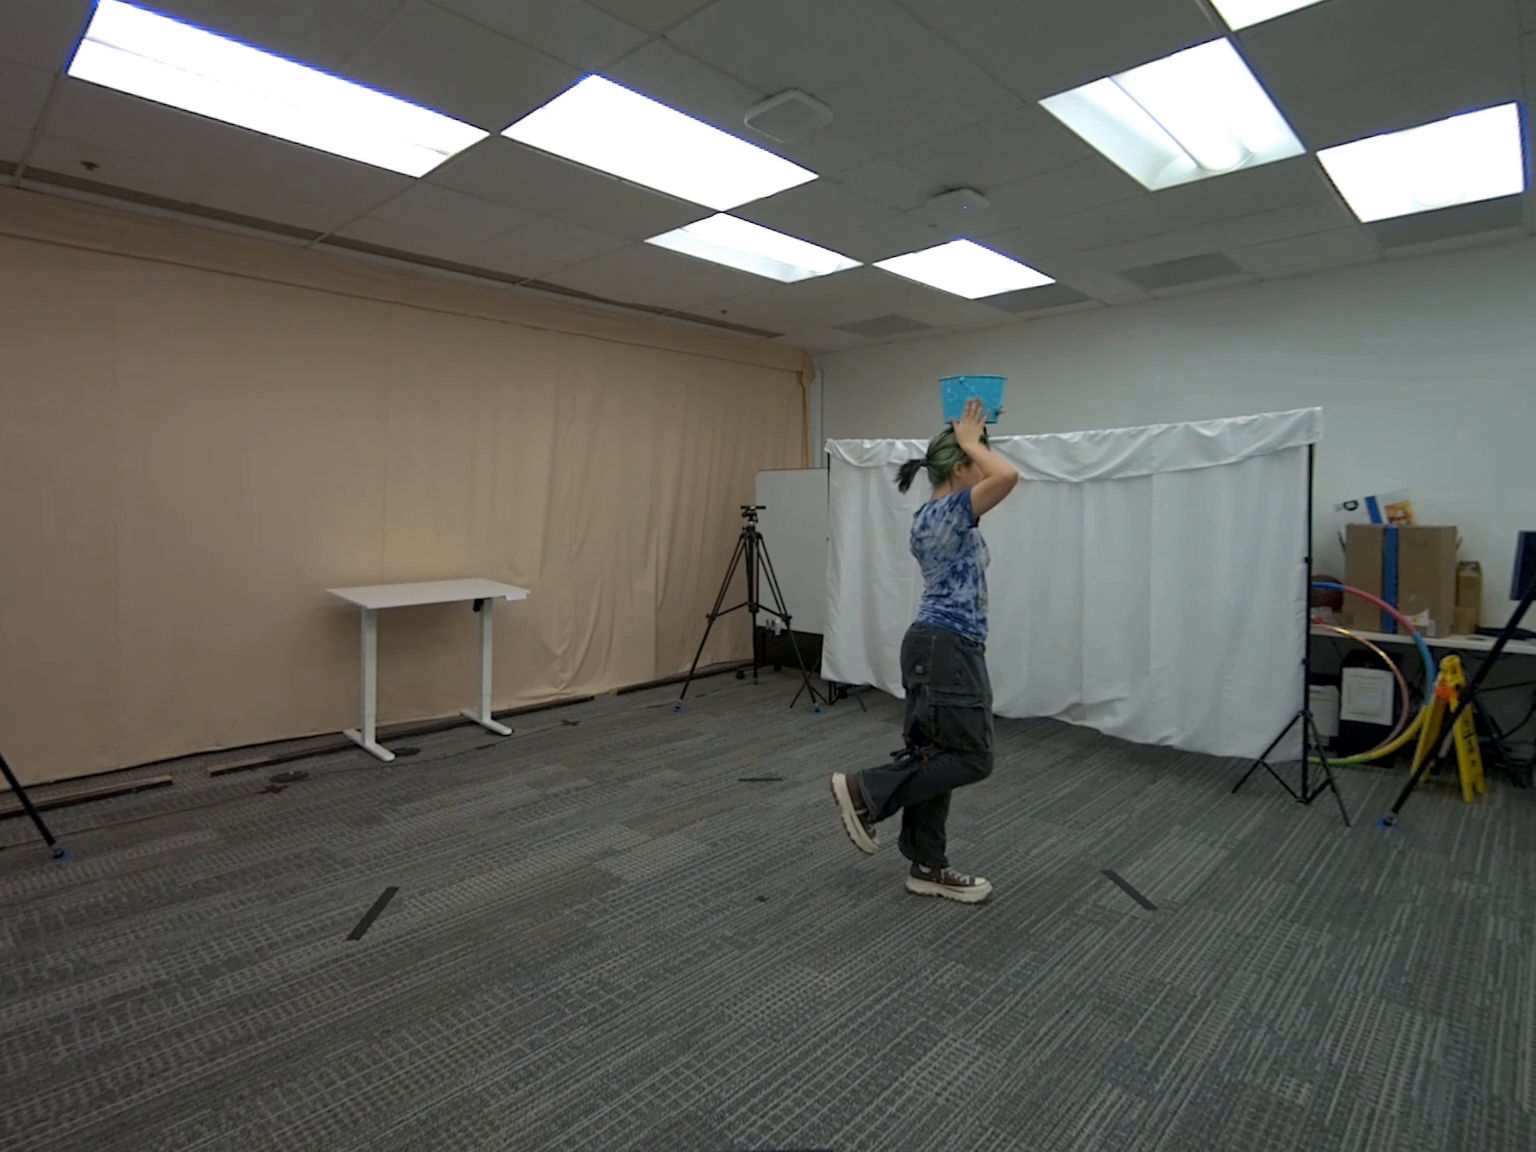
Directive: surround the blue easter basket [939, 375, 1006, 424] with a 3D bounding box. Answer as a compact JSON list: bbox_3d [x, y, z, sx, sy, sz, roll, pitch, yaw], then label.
[{"bbox_3d":[0.727,-0.611,2.946,0.243,0.155,0.244,2,5,-2],"label":"blue easter basket"}]
